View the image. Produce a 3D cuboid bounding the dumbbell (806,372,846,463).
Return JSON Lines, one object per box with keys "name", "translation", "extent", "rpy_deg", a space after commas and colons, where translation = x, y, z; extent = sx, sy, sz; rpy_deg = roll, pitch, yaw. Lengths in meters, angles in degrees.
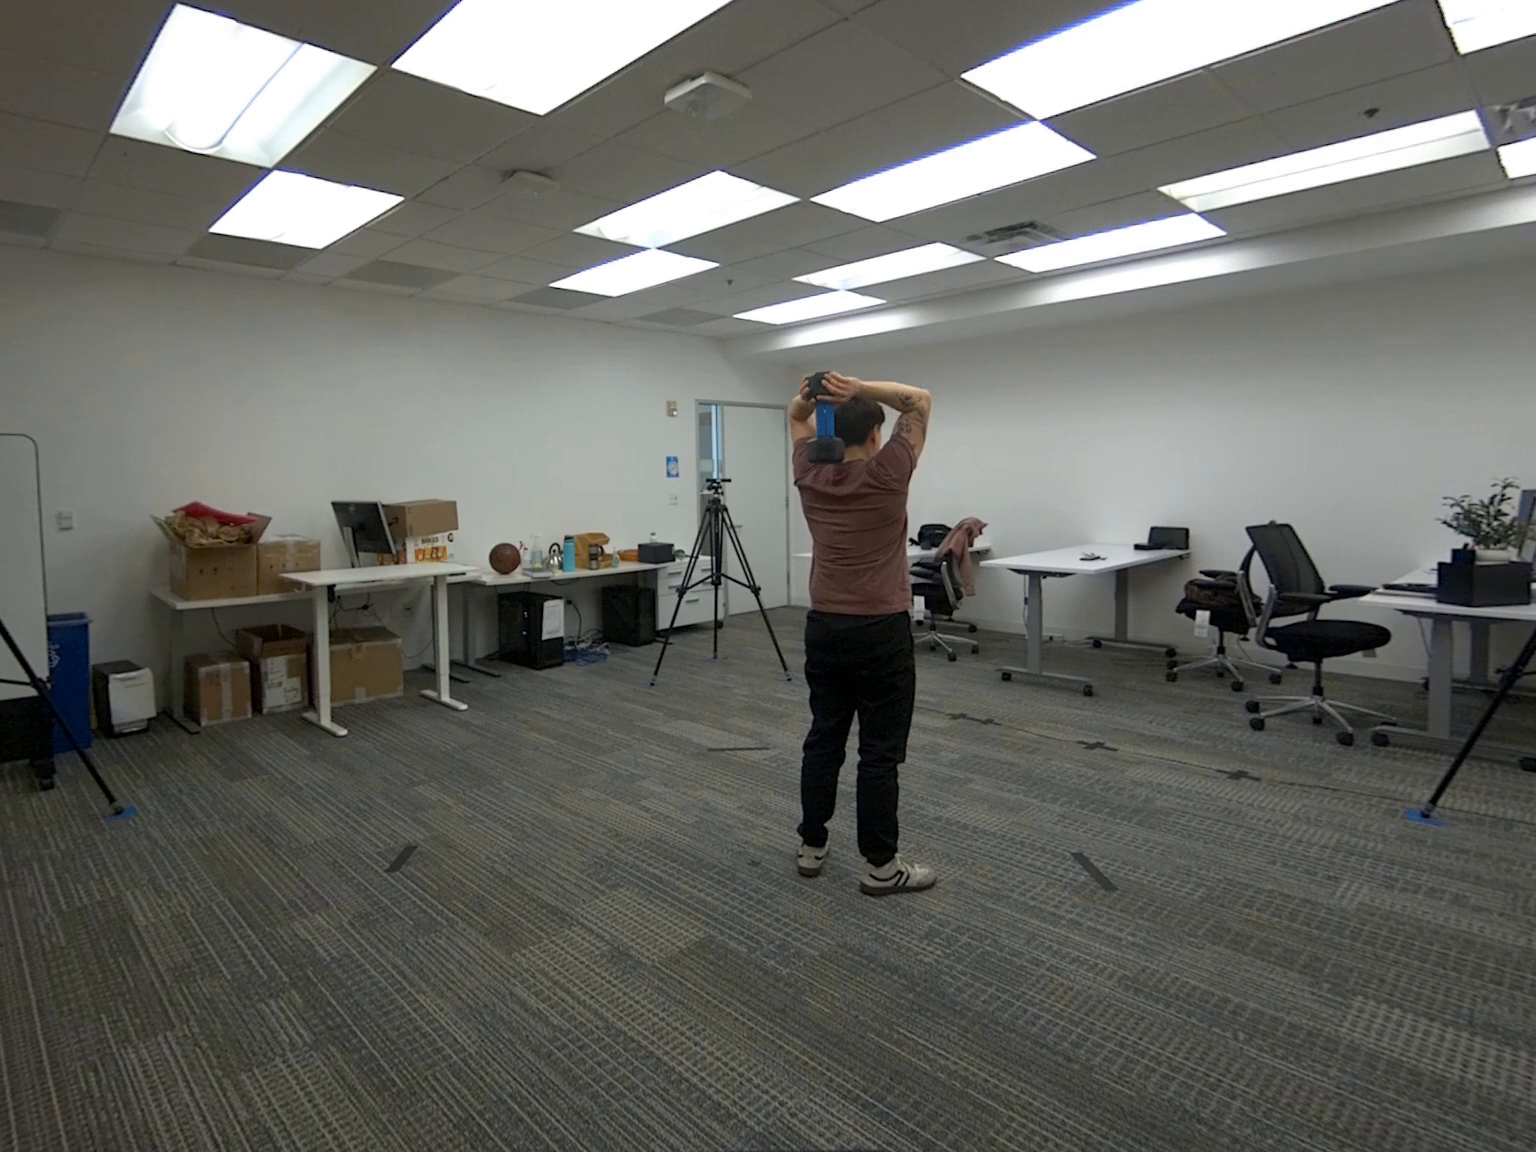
{"name": "dumbbell", "translation": [0.189, -0.513, 2.794], "extent": [0.112, 0.294, 0.119], "rpy_deg": [0, -2, 43]}
